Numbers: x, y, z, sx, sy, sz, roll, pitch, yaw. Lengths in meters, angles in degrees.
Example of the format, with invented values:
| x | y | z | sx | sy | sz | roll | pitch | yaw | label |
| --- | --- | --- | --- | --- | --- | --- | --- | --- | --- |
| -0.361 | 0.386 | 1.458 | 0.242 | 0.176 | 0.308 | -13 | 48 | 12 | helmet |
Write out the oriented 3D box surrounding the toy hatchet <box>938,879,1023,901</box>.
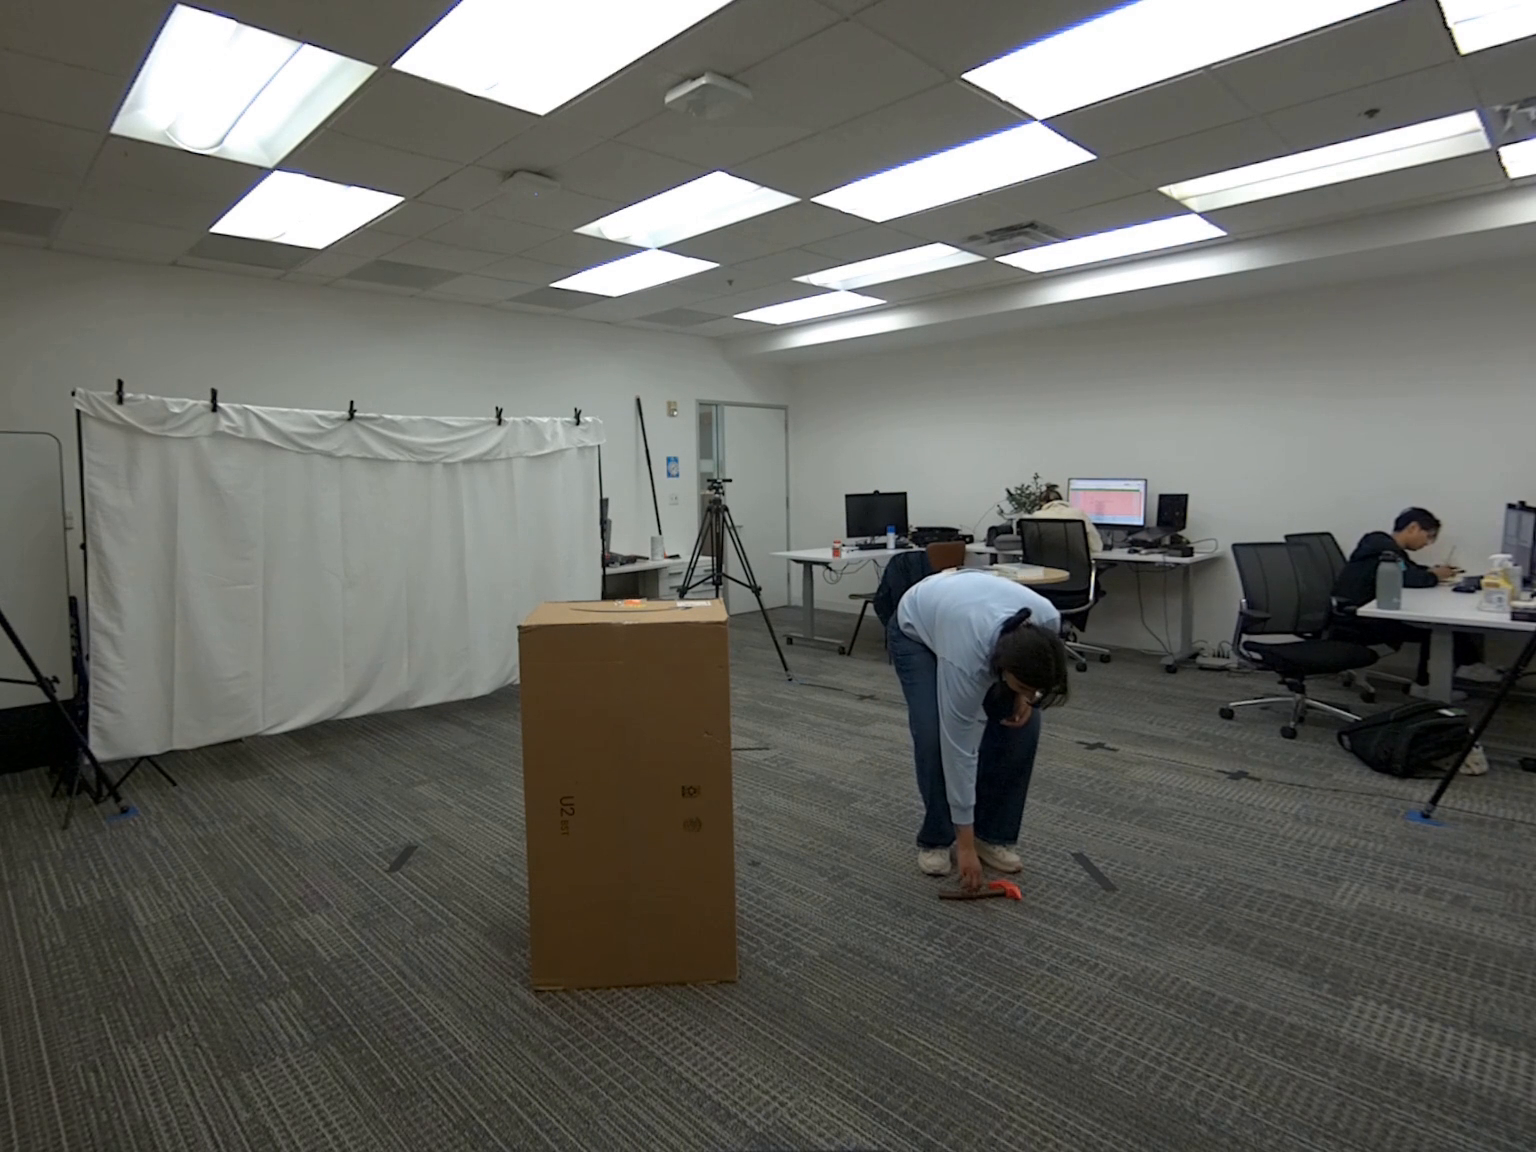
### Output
| x | y | z | sx | sy | sz | roll | pitch | yaw | label |
| --- | --- | --- | --- | --- | --- | --- | --- | --- | --- |
| 0.691 | 1.044 | 2.863 | 0.272 | 0.029 | 0.131 | 0 | 7 | 7 | toy hatchet |
